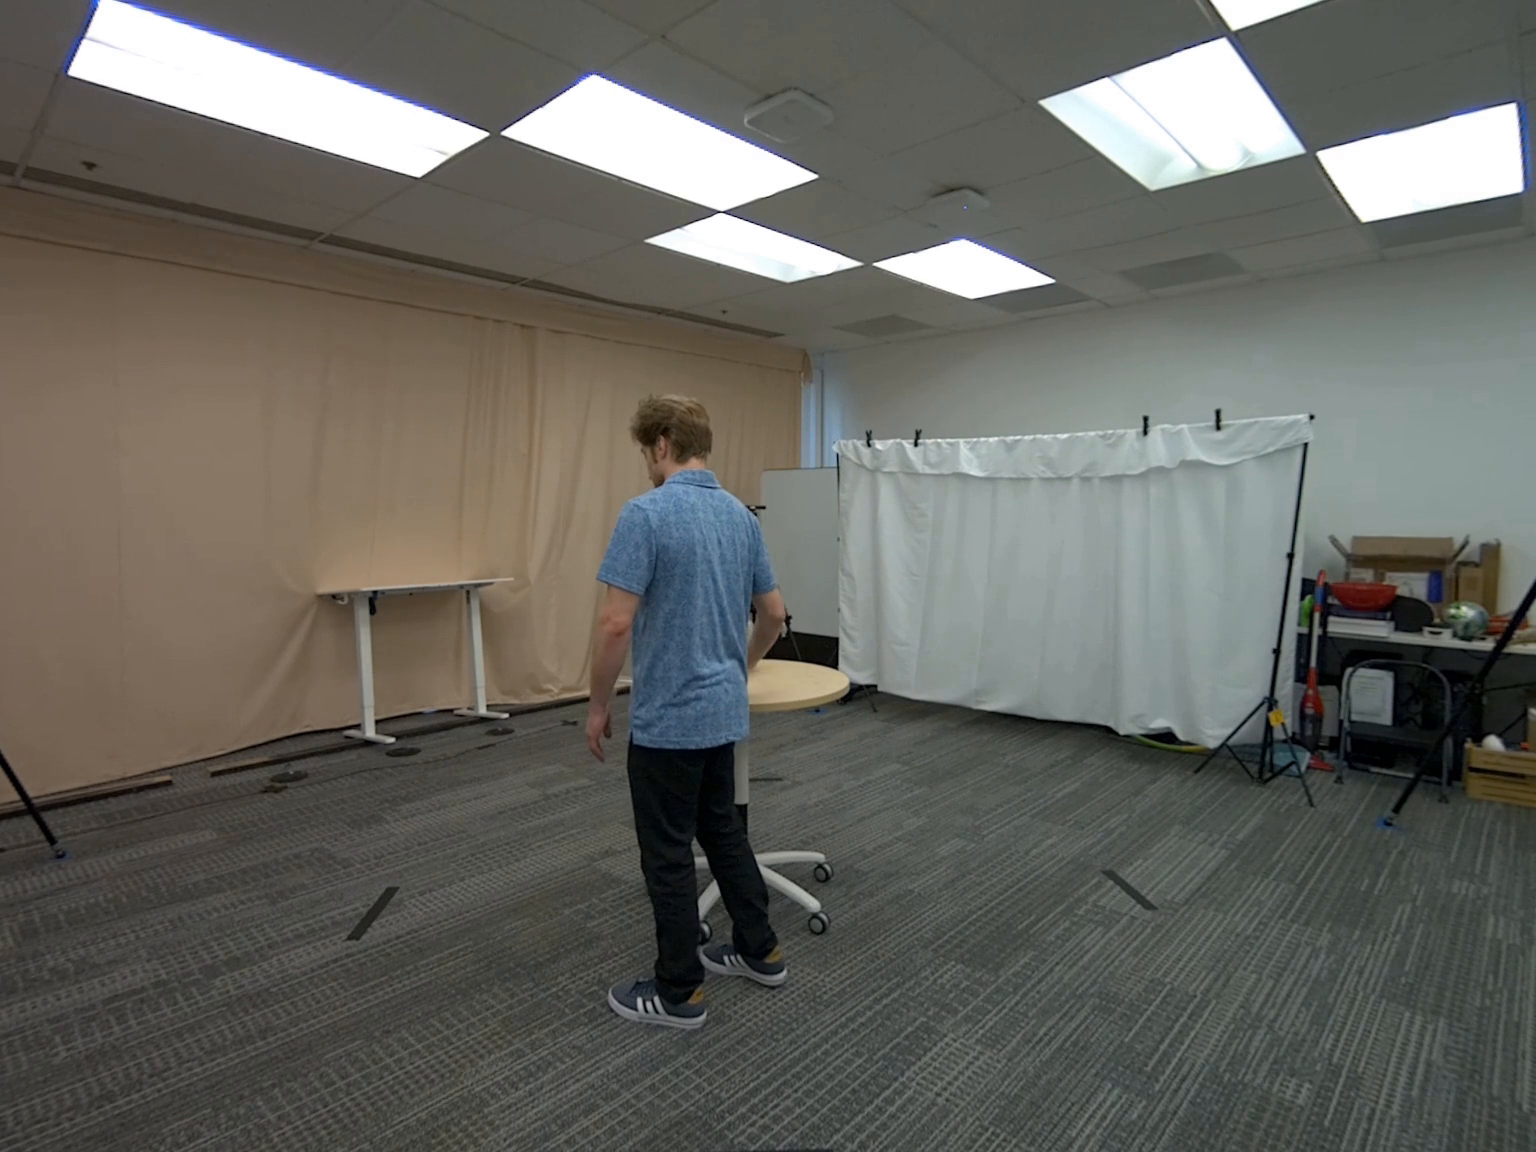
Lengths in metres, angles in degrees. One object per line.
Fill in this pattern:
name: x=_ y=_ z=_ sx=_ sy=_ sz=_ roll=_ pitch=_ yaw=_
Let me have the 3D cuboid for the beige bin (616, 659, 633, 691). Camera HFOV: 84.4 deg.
beige bin: x=-0.276 y=0.269 z=3.033 sx=0.387 sy=0.188 sz=0.413 roll=0 pitch=5 yaw=24
